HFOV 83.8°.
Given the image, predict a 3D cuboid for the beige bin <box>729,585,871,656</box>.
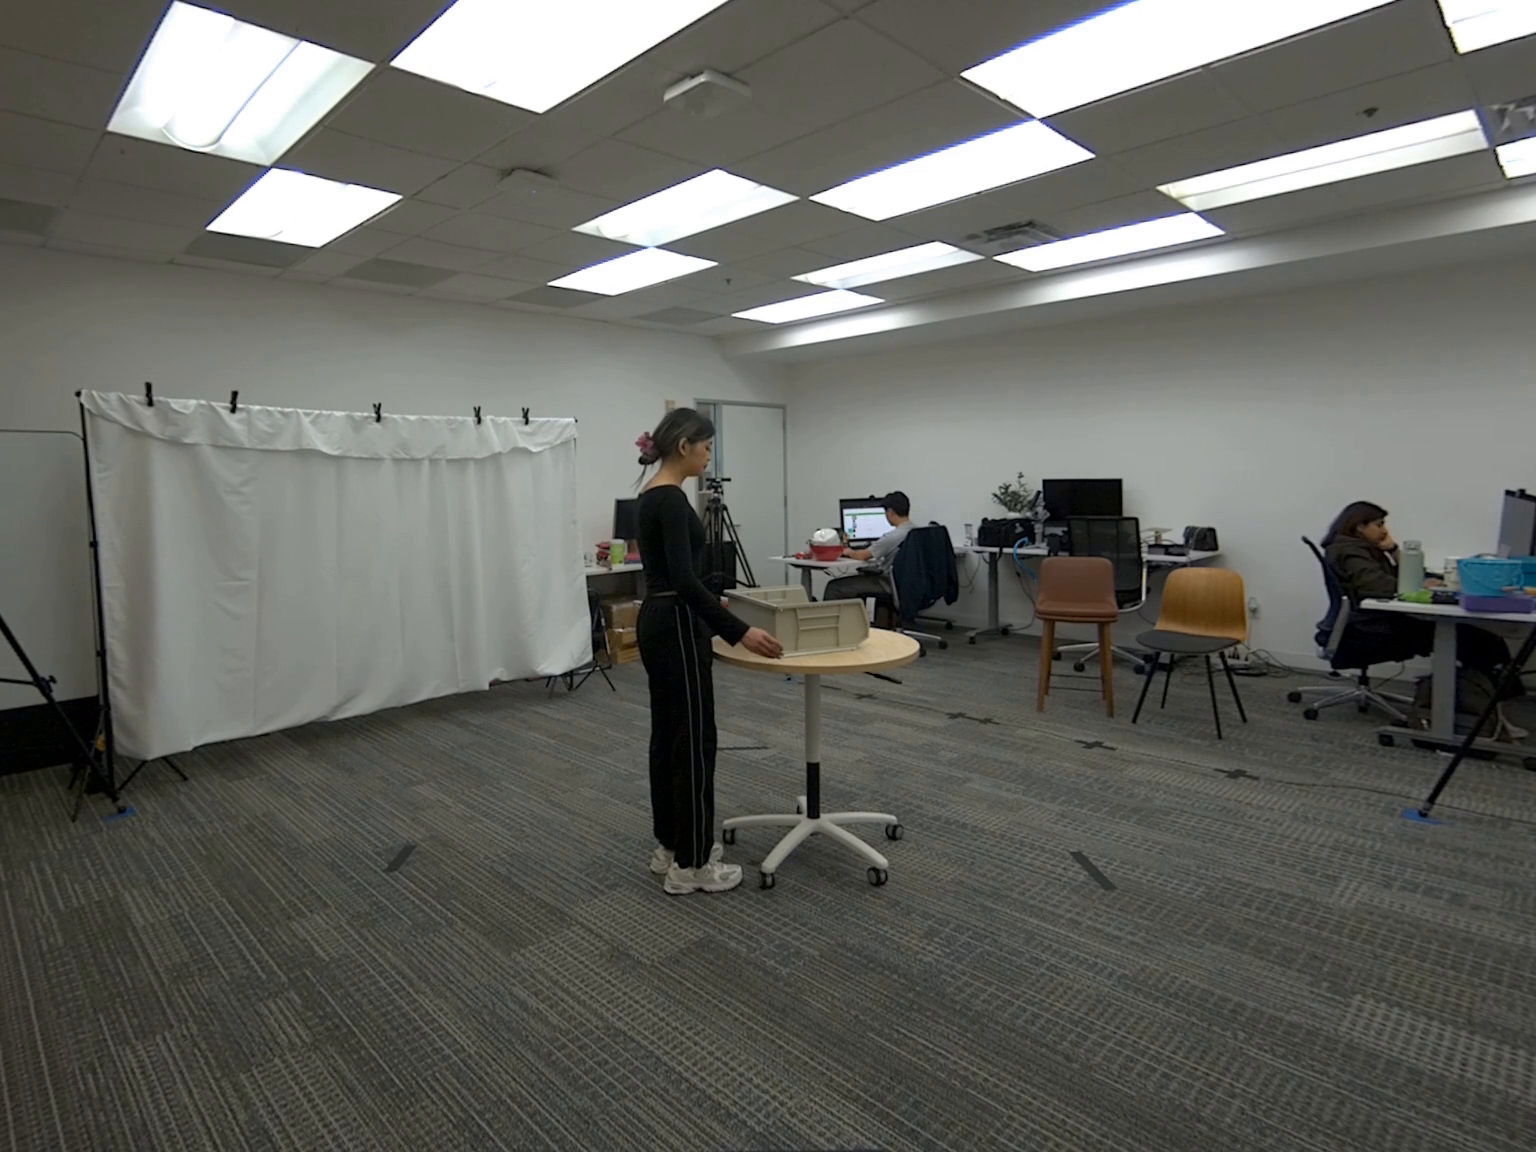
[{"bbox_3d":[0.095,0.157,3.112,0.370,0.188,0.433,-5,8,-25],"label":"beige bin"}]
